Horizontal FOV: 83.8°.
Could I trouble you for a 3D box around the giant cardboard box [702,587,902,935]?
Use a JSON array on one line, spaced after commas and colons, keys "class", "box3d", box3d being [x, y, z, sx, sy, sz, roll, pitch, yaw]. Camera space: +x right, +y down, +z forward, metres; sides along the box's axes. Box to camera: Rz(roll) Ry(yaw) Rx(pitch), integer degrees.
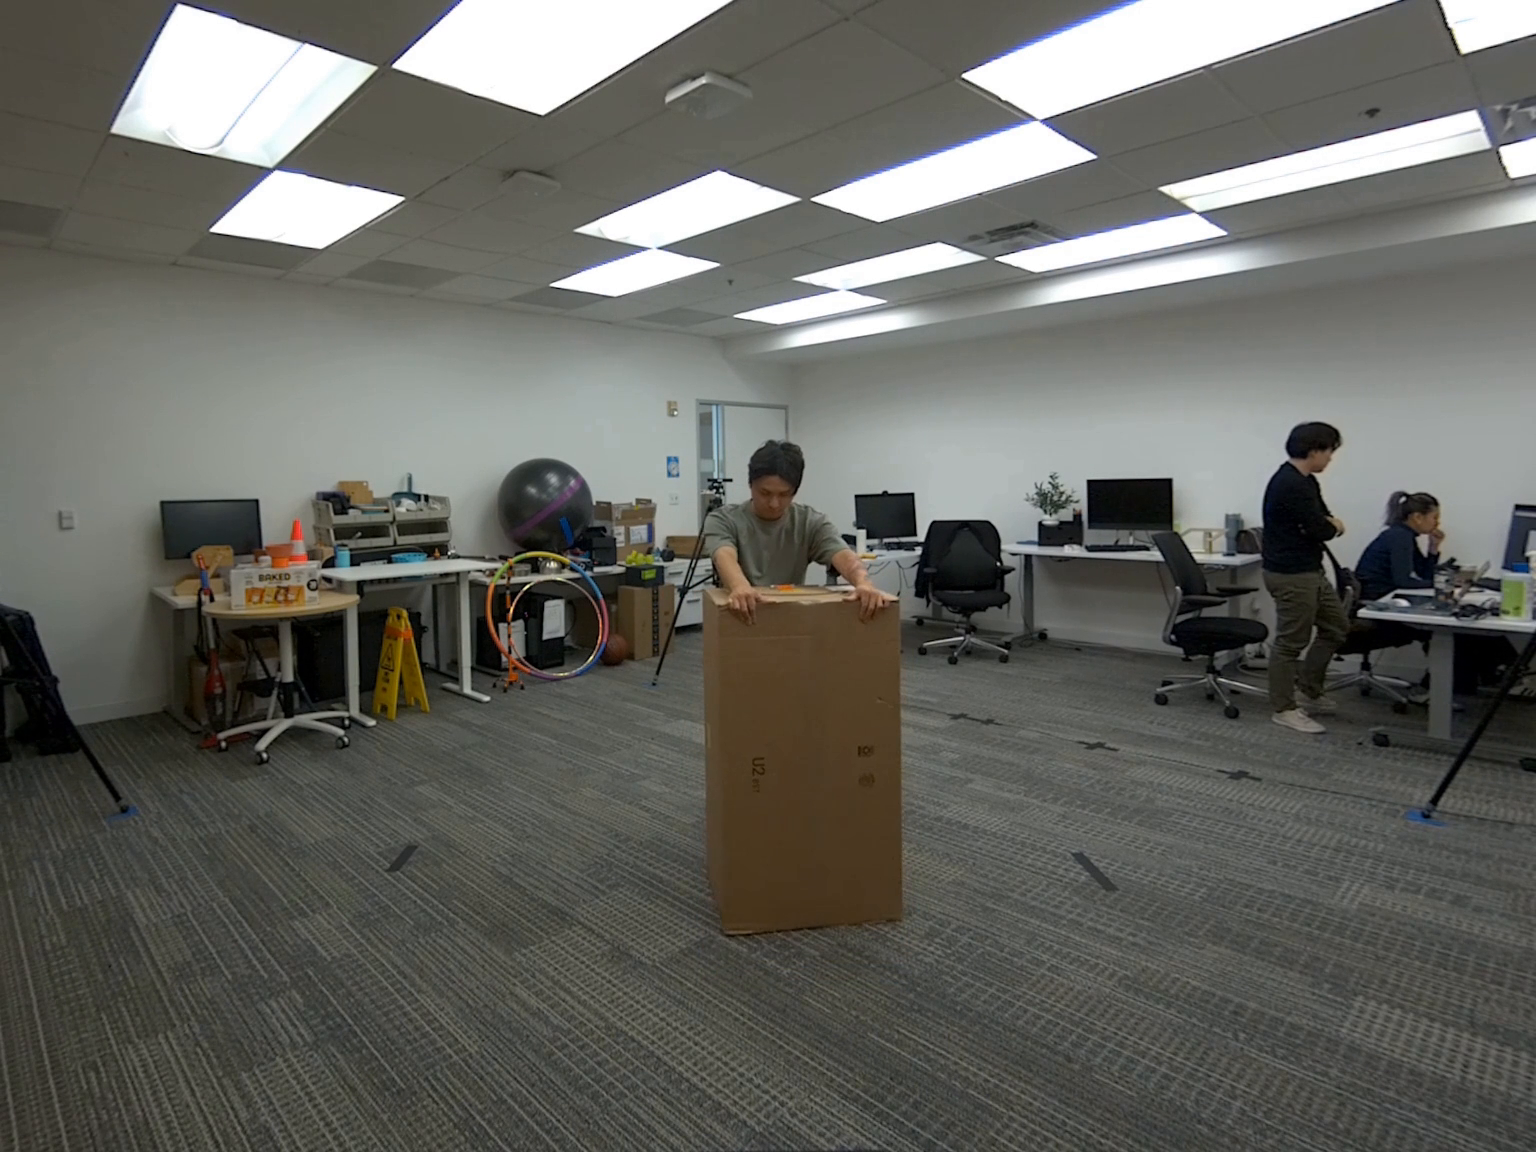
[{"class": "giant cardboard box", "box3d": [0.104, 0.563, 2.829, 0.573, 1.022, 0.431, -1, 4, -9]}]
